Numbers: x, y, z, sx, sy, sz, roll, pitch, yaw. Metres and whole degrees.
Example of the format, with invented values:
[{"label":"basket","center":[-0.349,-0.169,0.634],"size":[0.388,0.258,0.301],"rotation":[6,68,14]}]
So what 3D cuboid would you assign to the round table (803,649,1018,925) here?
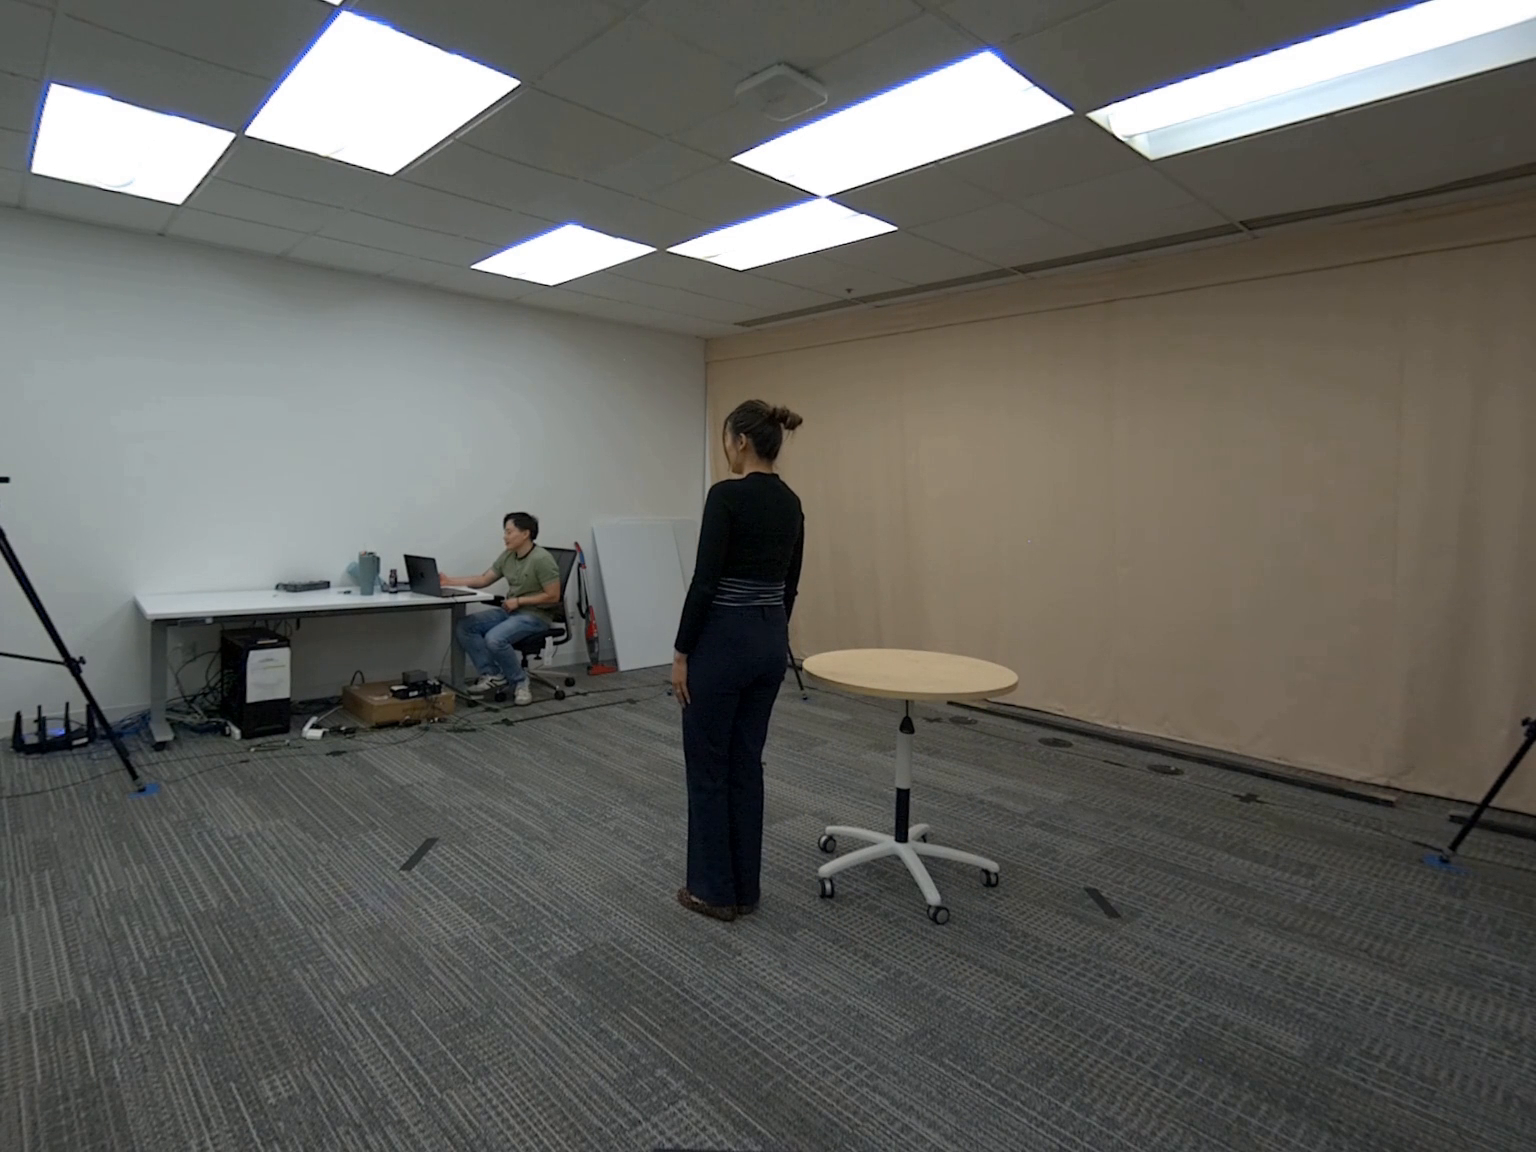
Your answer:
[{"label":"round table","center":[0.494,0.729,3.094],"size":[0.763,0.792,0.767],"rotation":[2,4,-1]}]
